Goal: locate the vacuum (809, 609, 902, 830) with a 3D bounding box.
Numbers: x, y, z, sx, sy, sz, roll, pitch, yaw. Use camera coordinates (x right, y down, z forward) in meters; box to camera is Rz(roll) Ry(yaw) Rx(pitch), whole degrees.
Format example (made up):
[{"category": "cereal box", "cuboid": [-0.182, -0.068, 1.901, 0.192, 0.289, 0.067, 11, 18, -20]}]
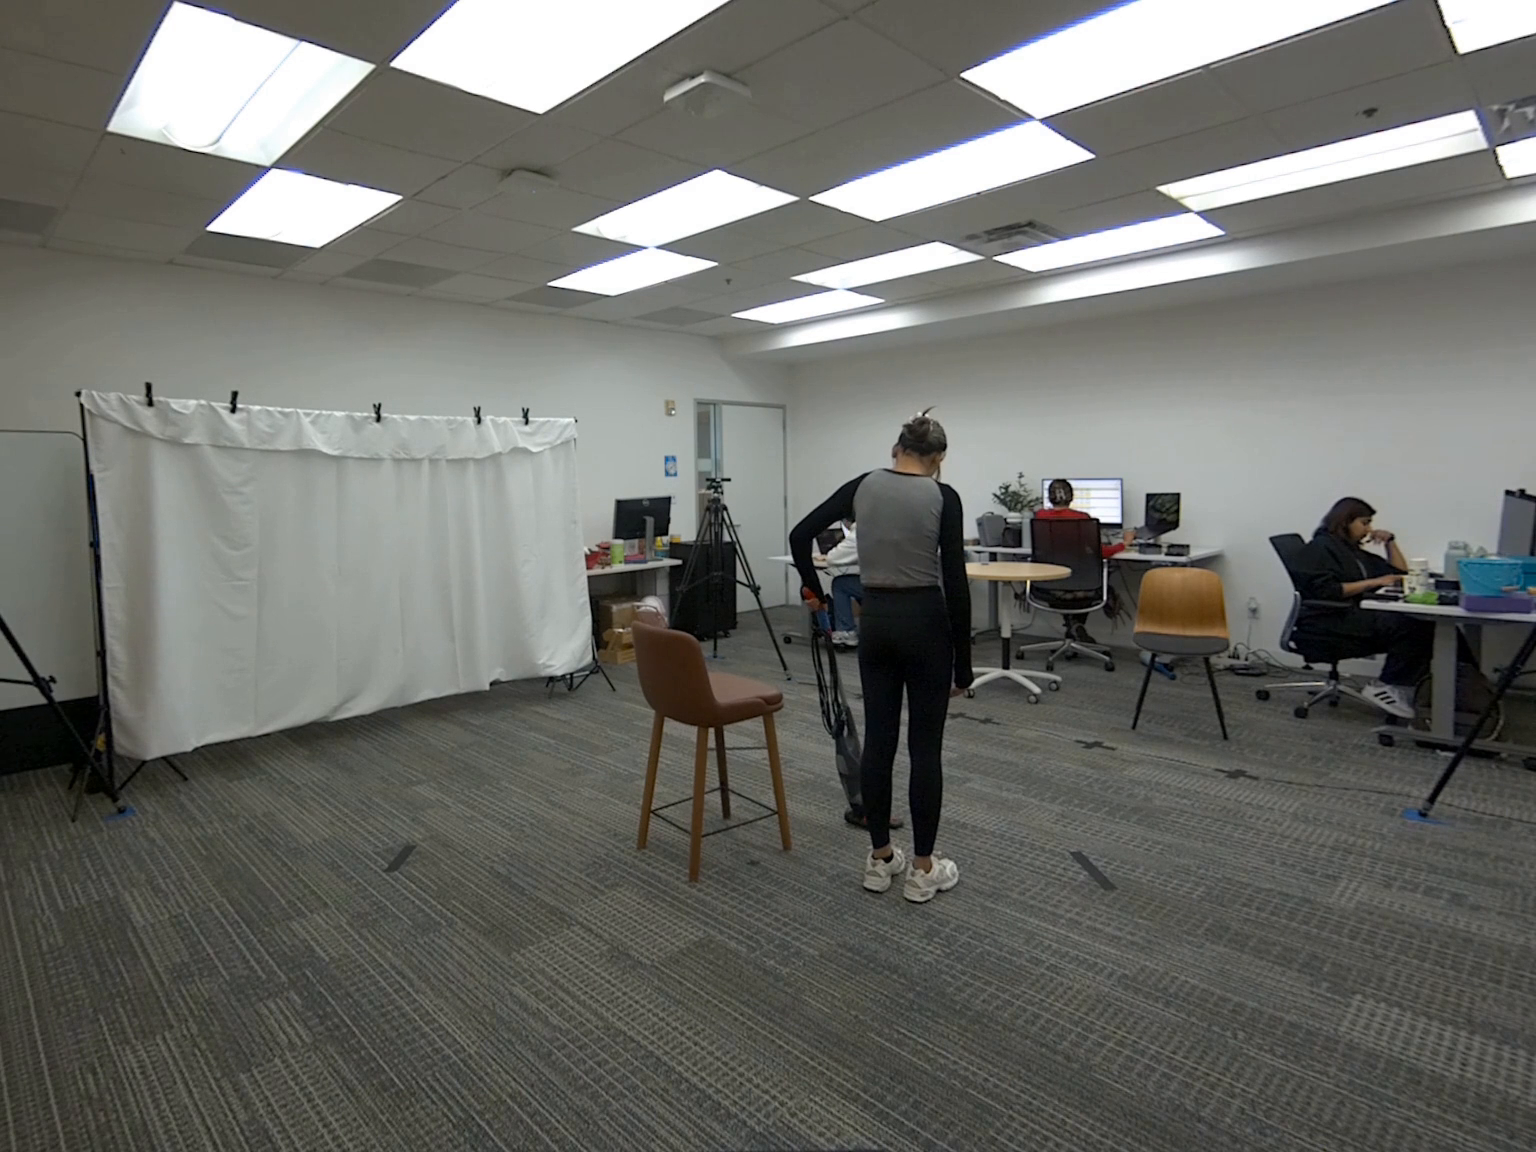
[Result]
[{"category": "vacuum", "cuboid": [0.278, 0.527, 3.302, 0.260, 1.028, 0.142, 3, 25, 42]}]
